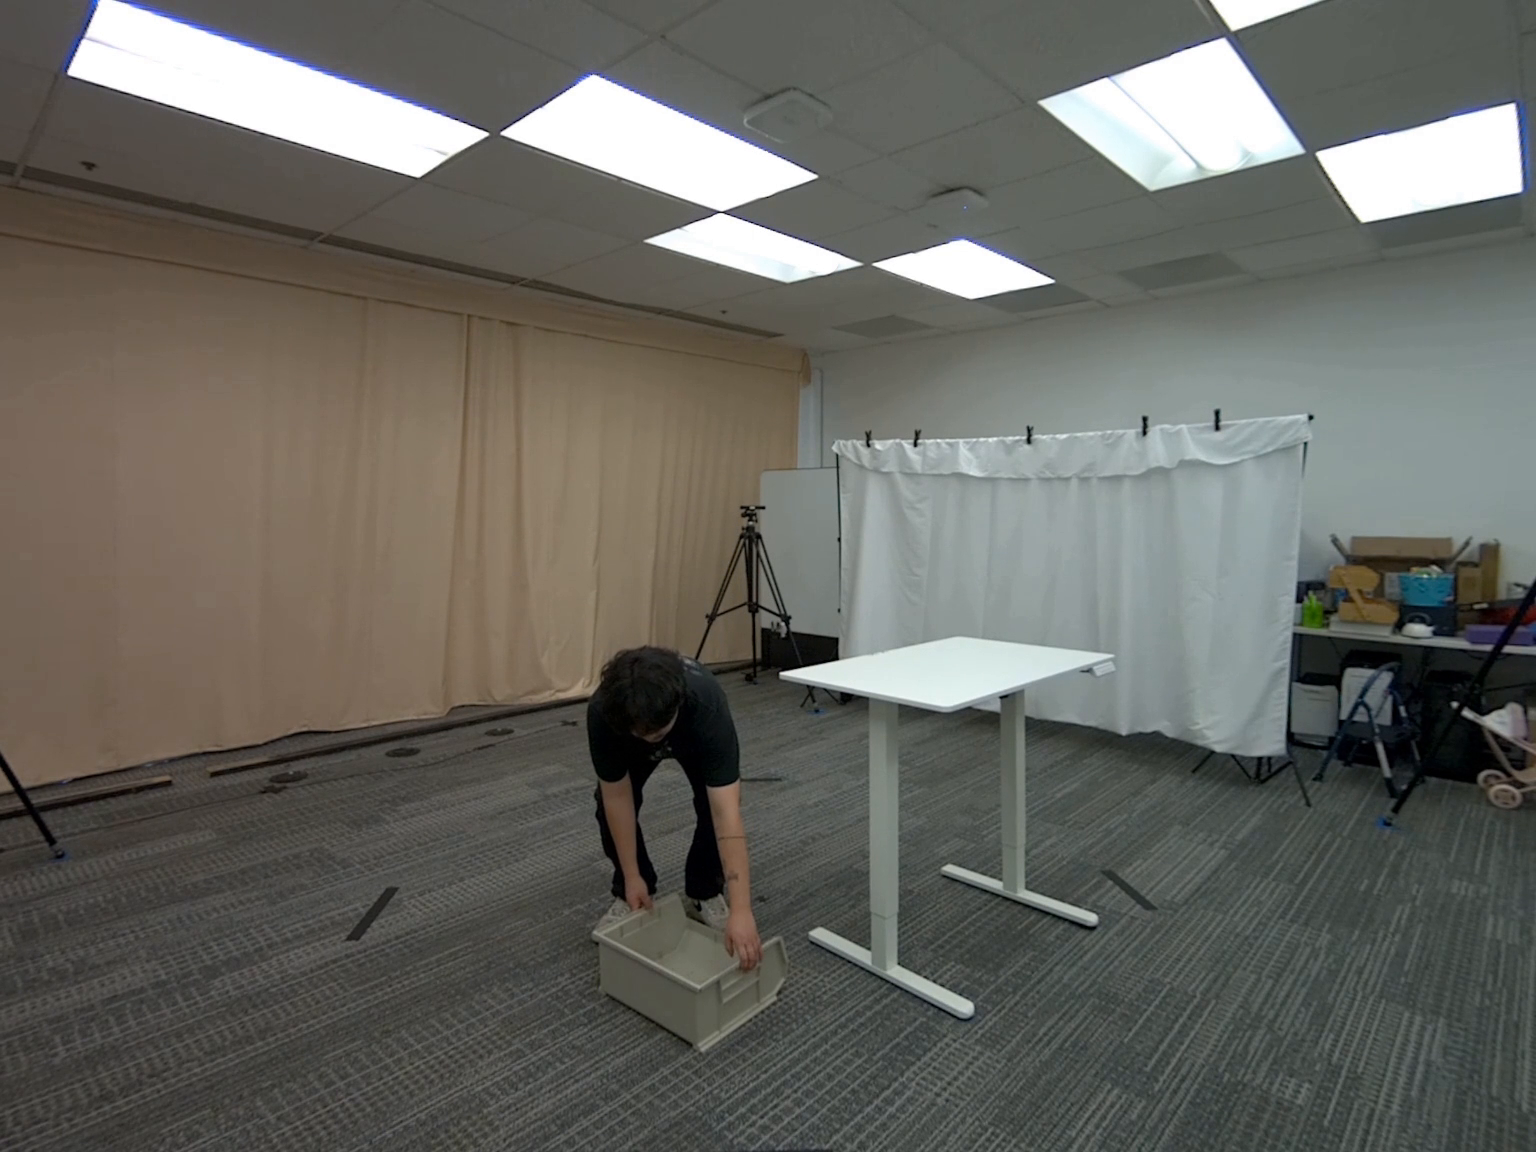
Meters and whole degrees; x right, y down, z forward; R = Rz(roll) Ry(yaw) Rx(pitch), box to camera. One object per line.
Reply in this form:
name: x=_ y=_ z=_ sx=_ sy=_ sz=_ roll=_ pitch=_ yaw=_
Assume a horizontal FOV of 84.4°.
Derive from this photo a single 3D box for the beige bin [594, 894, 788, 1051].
beige bin: x=-0.217 y=1.097 z=2.412 sx=0.436 sy=0.188 sz=0.366 roll=4 pitch=7 yaw=39
